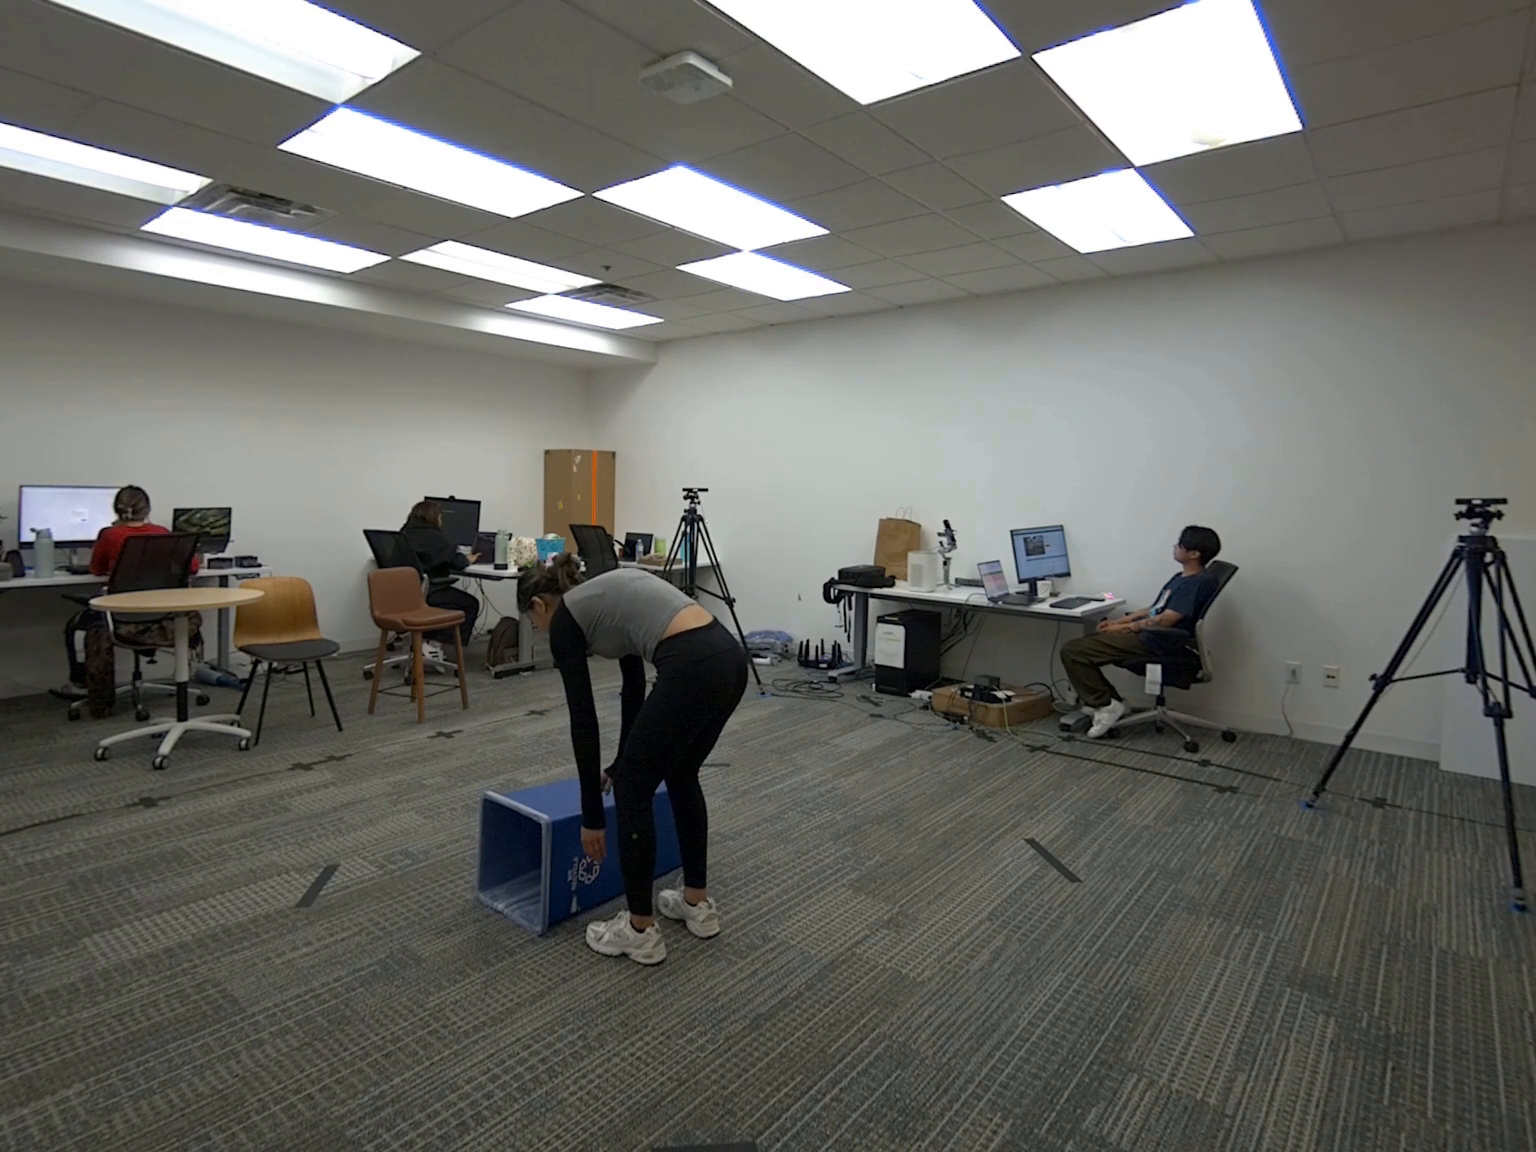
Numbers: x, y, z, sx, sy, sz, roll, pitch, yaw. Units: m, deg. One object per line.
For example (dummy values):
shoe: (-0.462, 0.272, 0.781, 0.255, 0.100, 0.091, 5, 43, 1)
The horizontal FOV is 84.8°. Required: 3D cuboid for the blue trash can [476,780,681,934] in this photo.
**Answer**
blue trash can: (-0.630, 0.898, 3.001, 0.390, 0.373, 0.692, 4, 4, 39)
